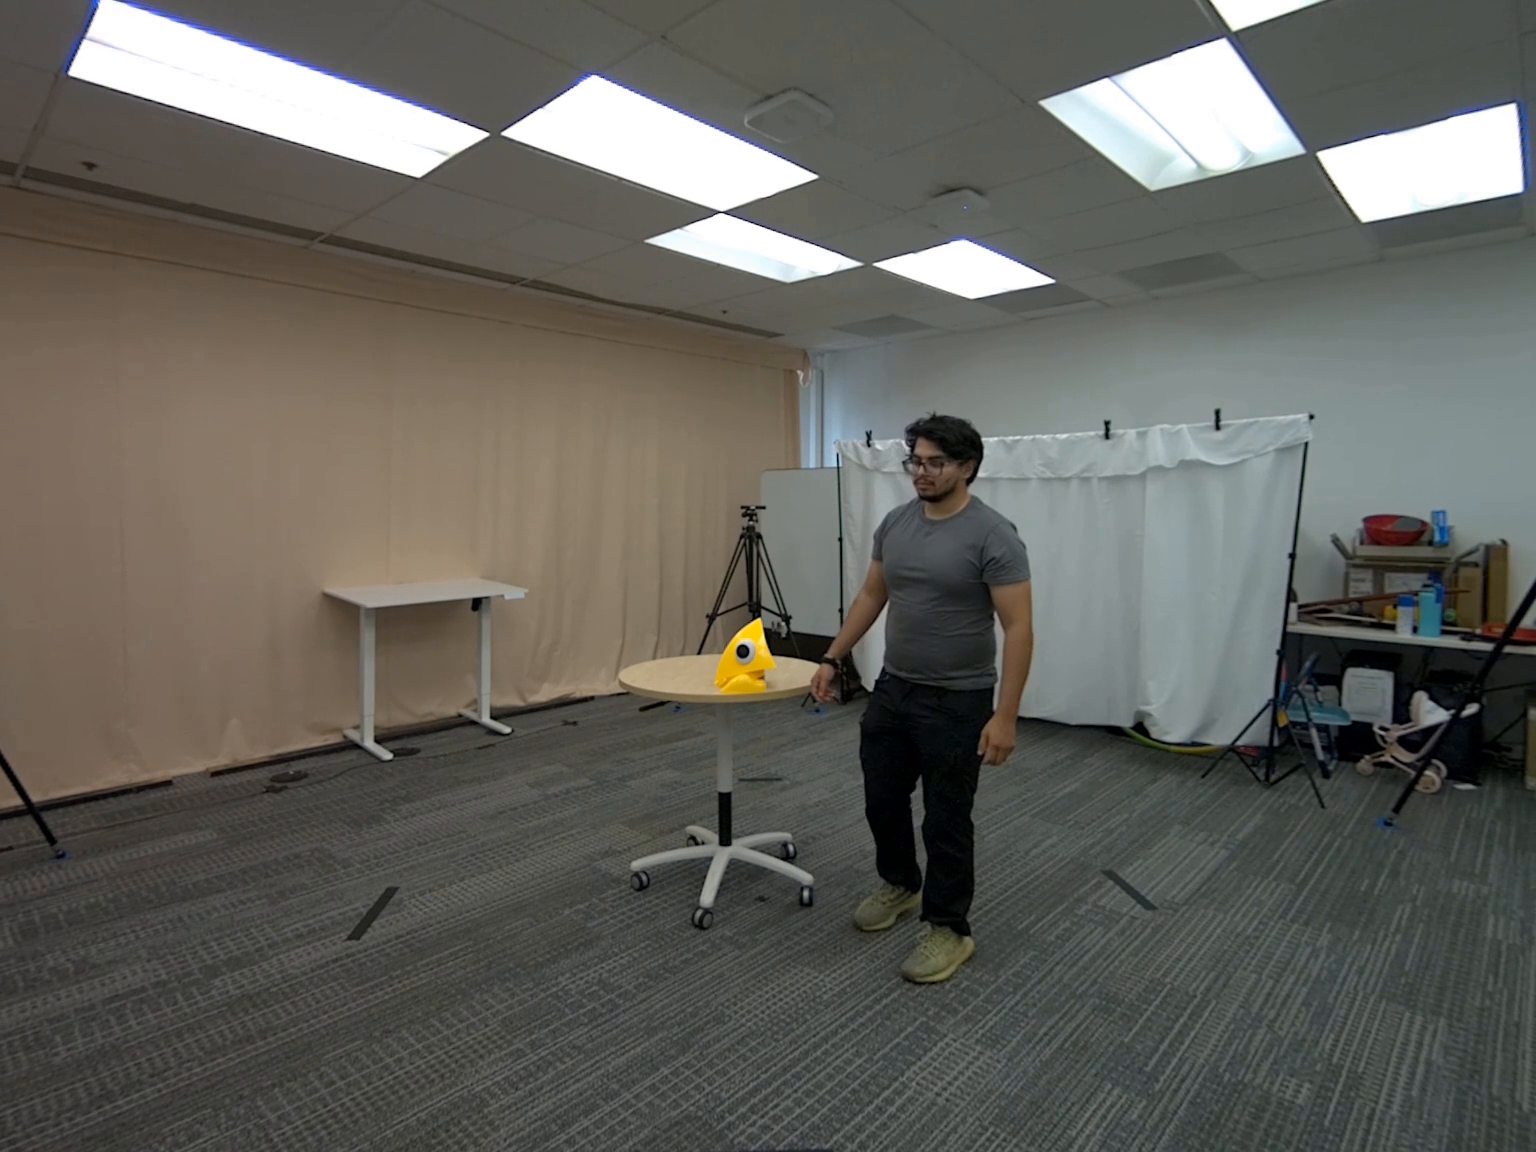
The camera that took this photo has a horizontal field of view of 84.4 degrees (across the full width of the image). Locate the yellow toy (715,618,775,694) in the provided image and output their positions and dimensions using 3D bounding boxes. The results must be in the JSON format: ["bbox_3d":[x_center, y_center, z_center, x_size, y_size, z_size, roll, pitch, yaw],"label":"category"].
[{"bbox_3d":[-0.086,0.260,2.811,0.191,0.230,0.207,-3,4,-9],"label":"yellow toy"}]
